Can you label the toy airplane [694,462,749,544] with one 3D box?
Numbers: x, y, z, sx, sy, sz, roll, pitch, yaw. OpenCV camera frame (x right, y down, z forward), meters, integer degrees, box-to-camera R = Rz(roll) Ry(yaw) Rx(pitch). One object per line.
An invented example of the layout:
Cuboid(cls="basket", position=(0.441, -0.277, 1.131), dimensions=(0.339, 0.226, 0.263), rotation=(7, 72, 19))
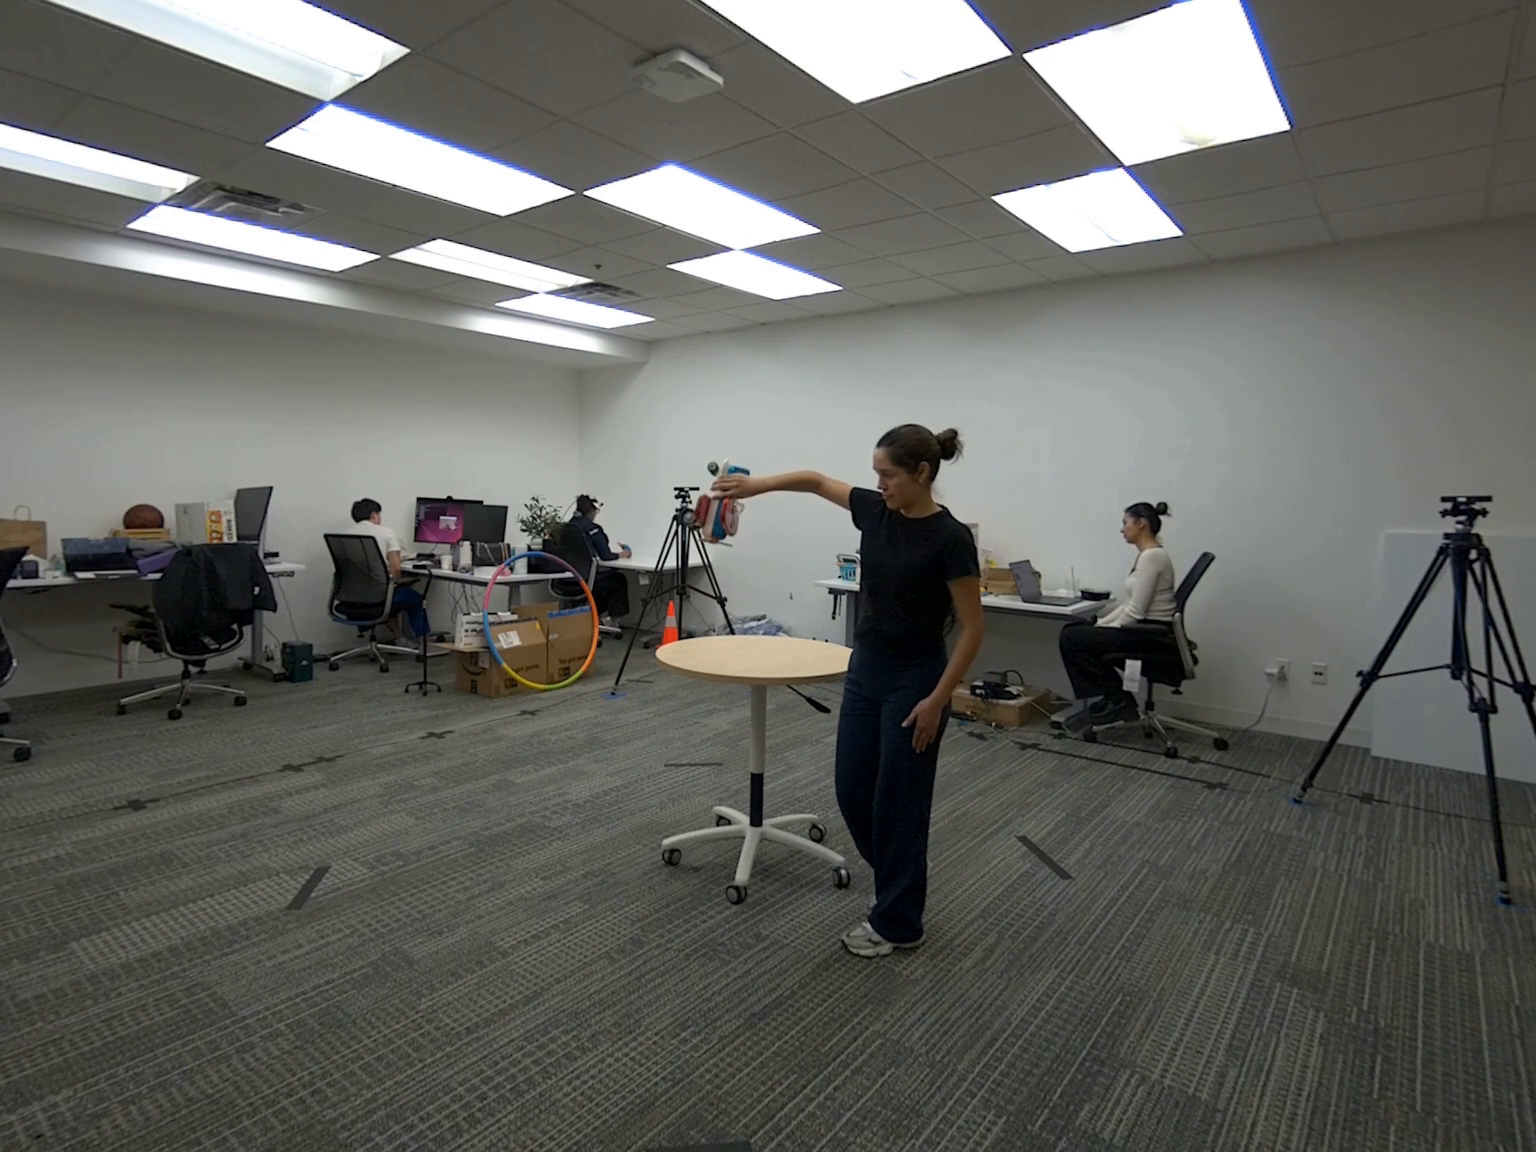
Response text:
Cuboid(cls="toy airplane", position=(-0.148, -0.229, 2.666), dimensions=(0.159, 0.256, 0.249), rotation=(26, 23, 12))
